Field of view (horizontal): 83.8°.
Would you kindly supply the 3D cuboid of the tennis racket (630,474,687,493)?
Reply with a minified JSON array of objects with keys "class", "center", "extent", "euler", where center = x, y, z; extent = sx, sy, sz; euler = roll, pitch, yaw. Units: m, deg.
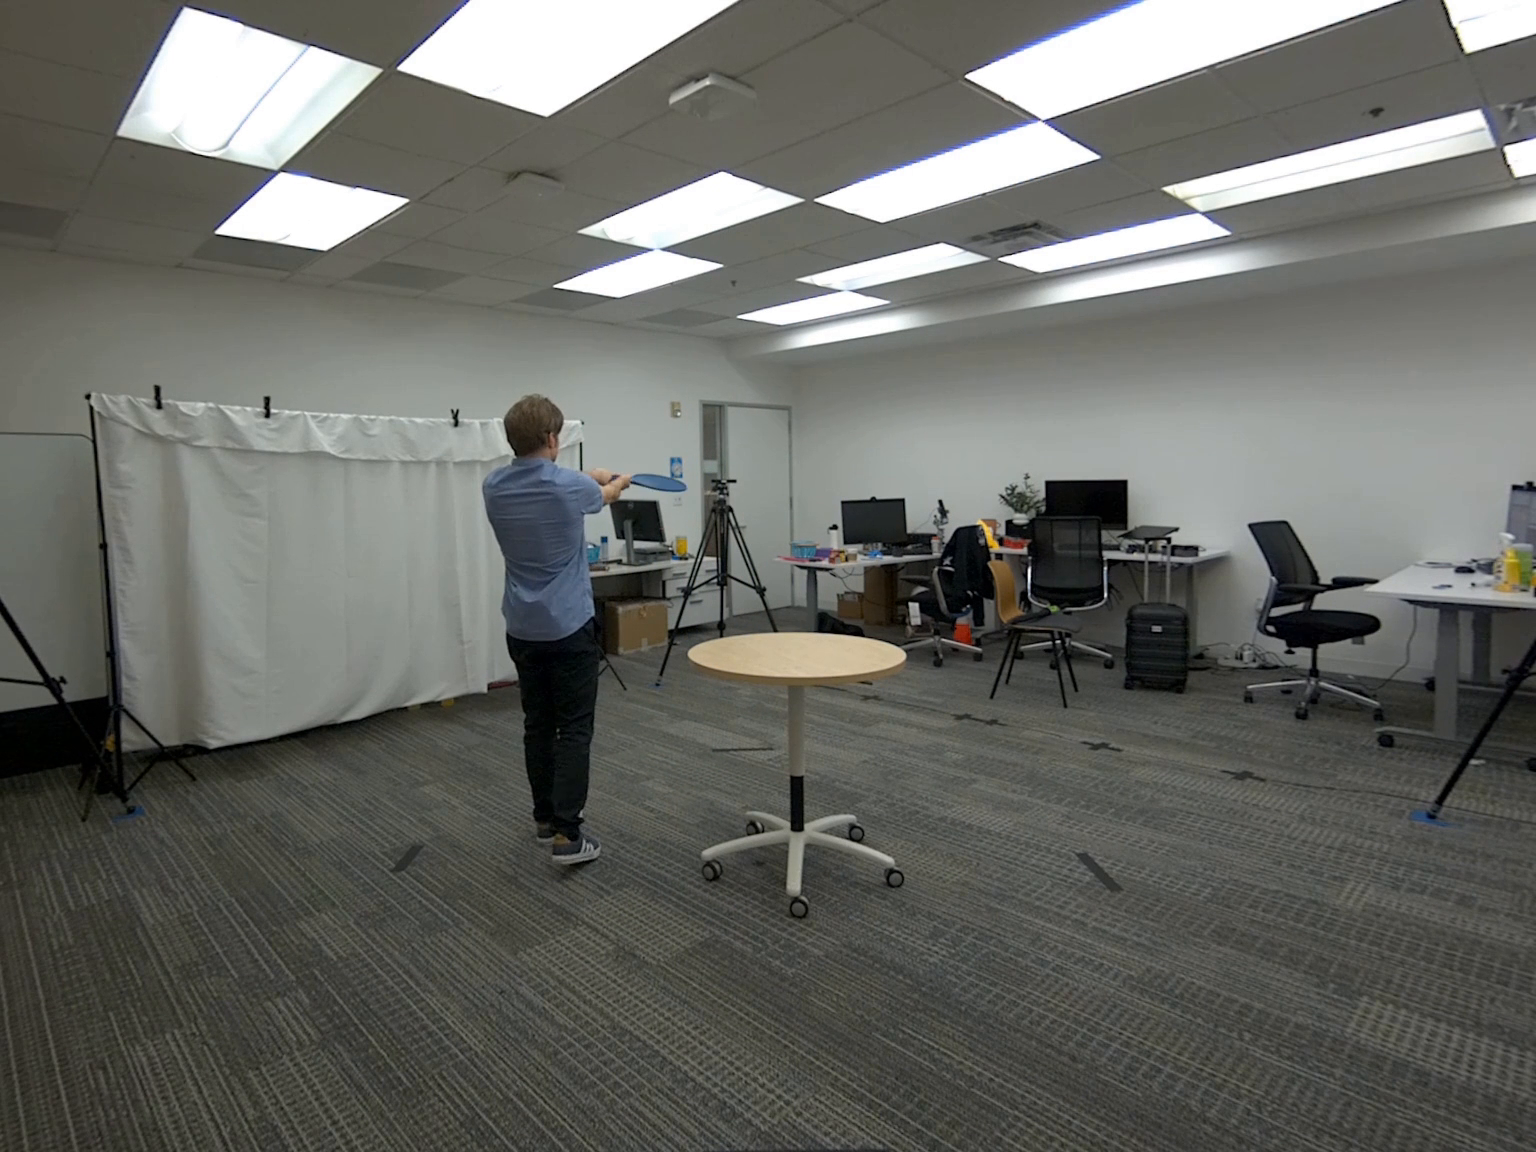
[{"class":"tennis racket","center":[-0.566,-0.425,3.849],"extent":[0.422,0.031,0.222],"euler":[2,23,-28]}]
